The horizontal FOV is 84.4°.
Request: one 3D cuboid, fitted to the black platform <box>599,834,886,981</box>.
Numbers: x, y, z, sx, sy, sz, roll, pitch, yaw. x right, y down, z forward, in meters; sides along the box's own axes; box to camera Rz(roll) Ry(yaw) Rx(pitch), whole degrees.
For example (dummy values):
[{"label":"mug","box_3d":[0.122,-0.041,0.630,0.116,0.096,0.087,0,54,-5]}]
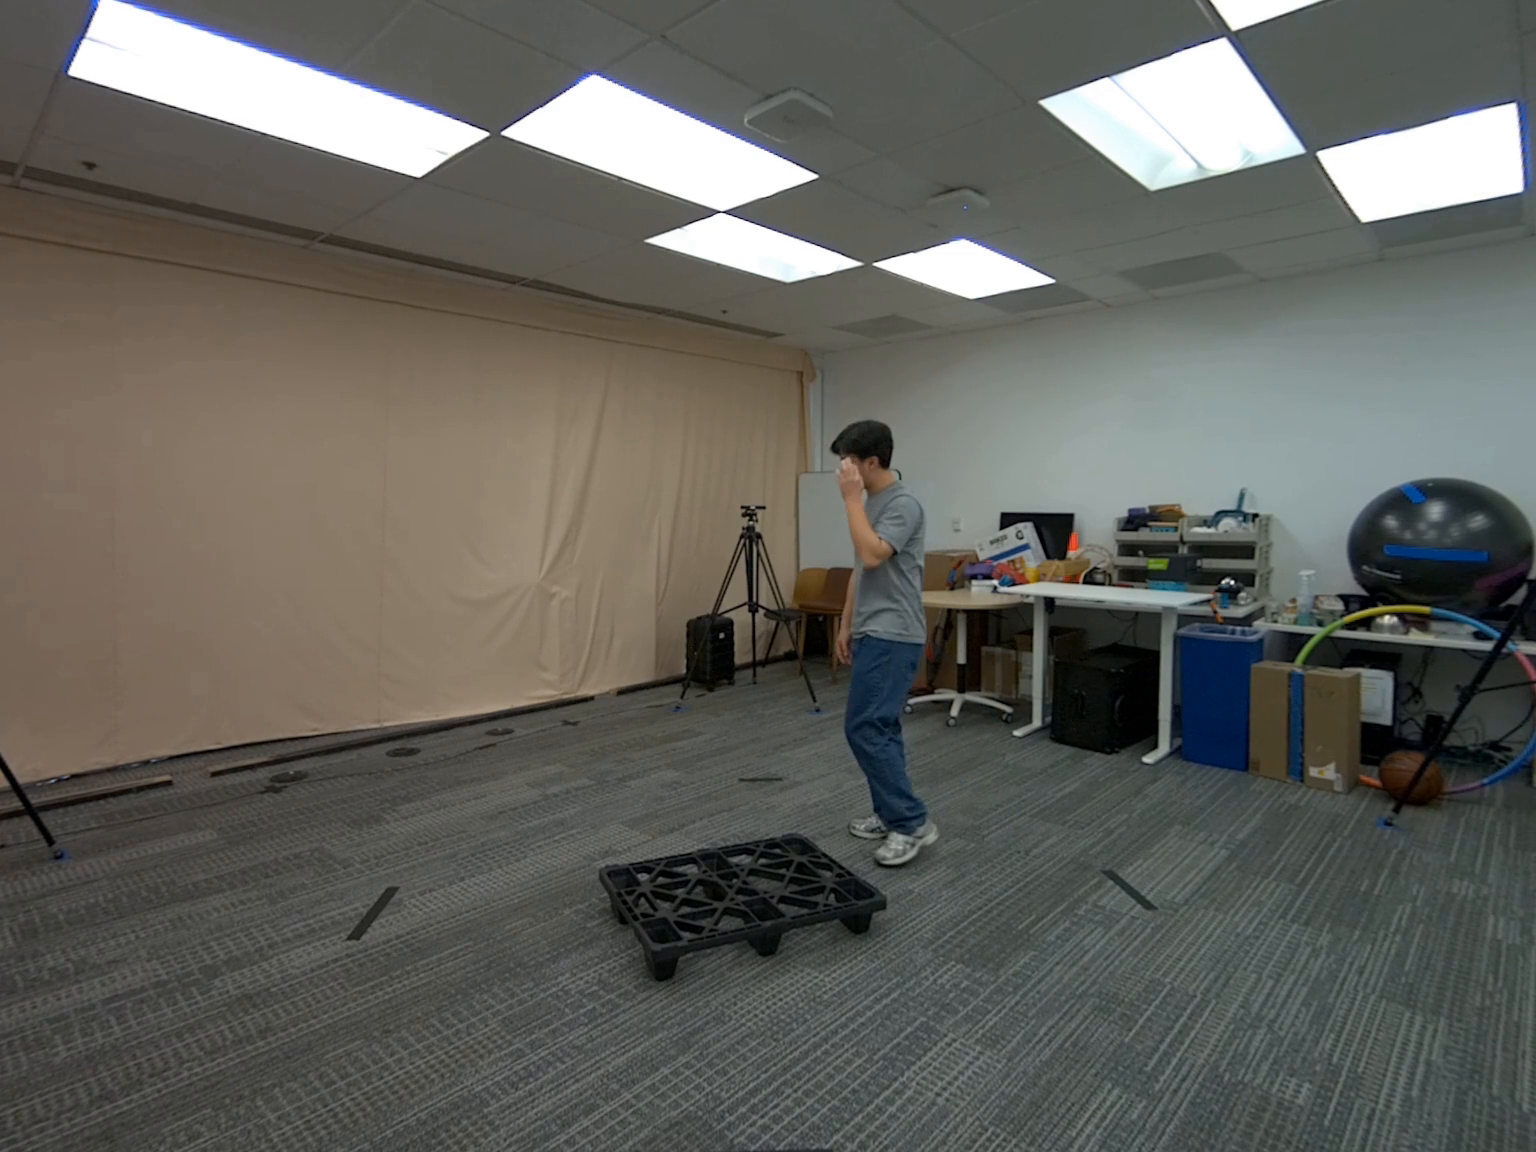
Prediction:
[{"label":"black platform","box_3d":[-0.104,1.090,2.816,0.787,0.143,0.621,-2,4,-25]}]
